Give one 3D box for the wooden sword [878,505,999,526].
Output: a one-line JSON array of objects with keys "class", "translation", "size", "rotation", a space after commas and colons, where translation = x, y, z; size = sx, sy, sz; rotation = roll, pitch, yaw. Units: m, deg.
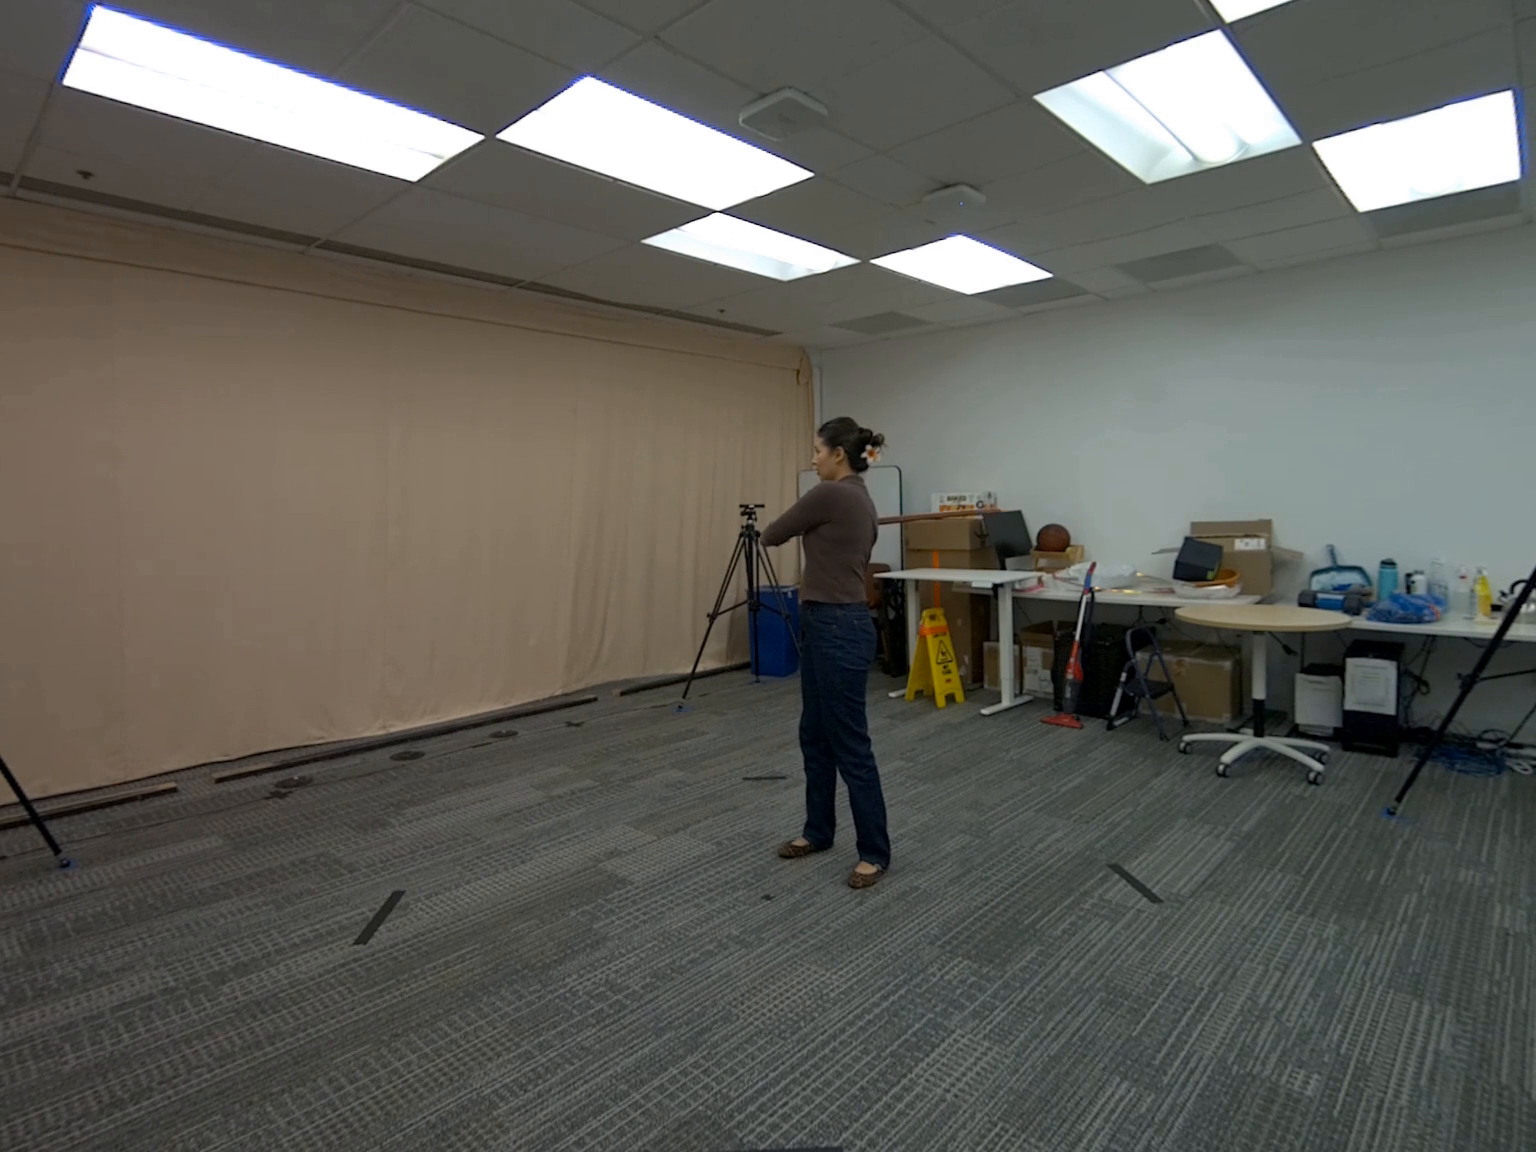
[{"class": "wooden sword", "translation": [0.429, -0.223, 3.564], "size": [1.021, 0.050, 0.024], "rotation": [-5, 47, -4]}]
